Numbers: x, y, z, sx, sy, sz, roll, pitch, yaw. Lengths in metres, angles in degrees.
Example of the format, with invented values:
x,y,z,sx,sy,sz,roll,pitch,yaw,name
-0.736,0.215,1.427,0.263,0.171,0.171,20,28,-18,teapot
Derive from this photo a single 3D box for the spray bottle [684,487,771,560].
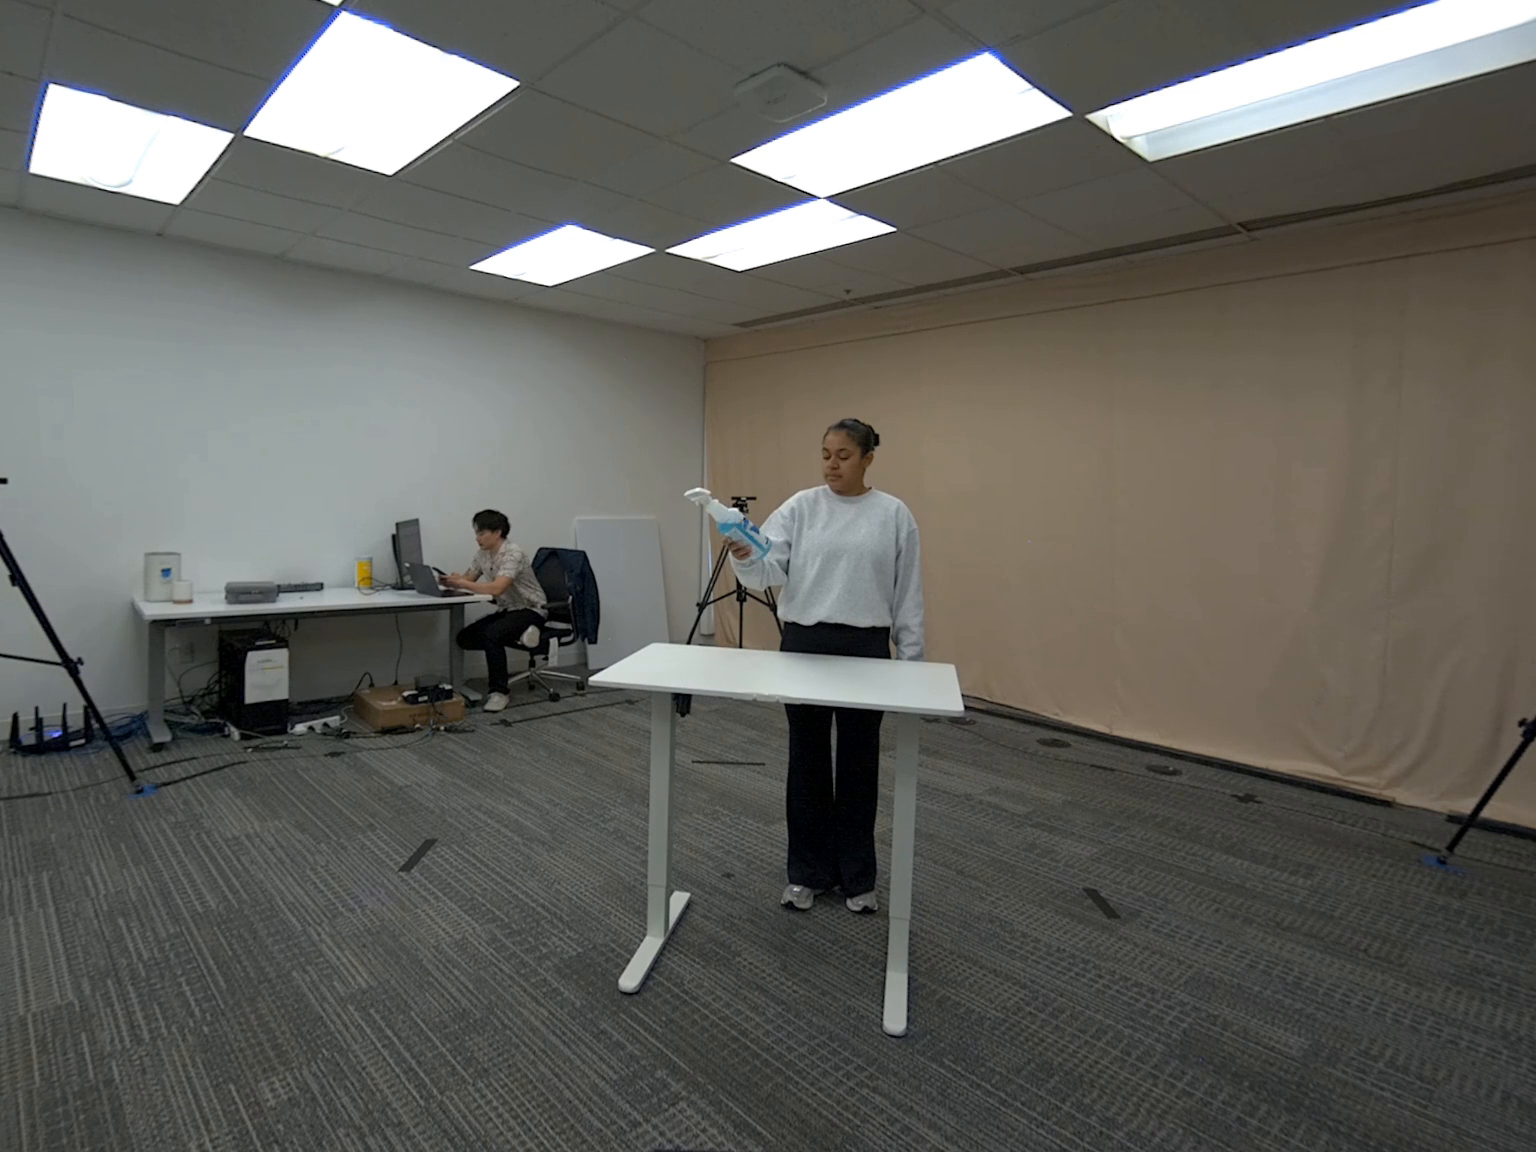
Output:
x,y,z,sx,sy,sz,roll,pitch,yaw,name
-0.122,-0.156,2.491,0.290,0.087,0.092,43,-9,-24,spray bottle
